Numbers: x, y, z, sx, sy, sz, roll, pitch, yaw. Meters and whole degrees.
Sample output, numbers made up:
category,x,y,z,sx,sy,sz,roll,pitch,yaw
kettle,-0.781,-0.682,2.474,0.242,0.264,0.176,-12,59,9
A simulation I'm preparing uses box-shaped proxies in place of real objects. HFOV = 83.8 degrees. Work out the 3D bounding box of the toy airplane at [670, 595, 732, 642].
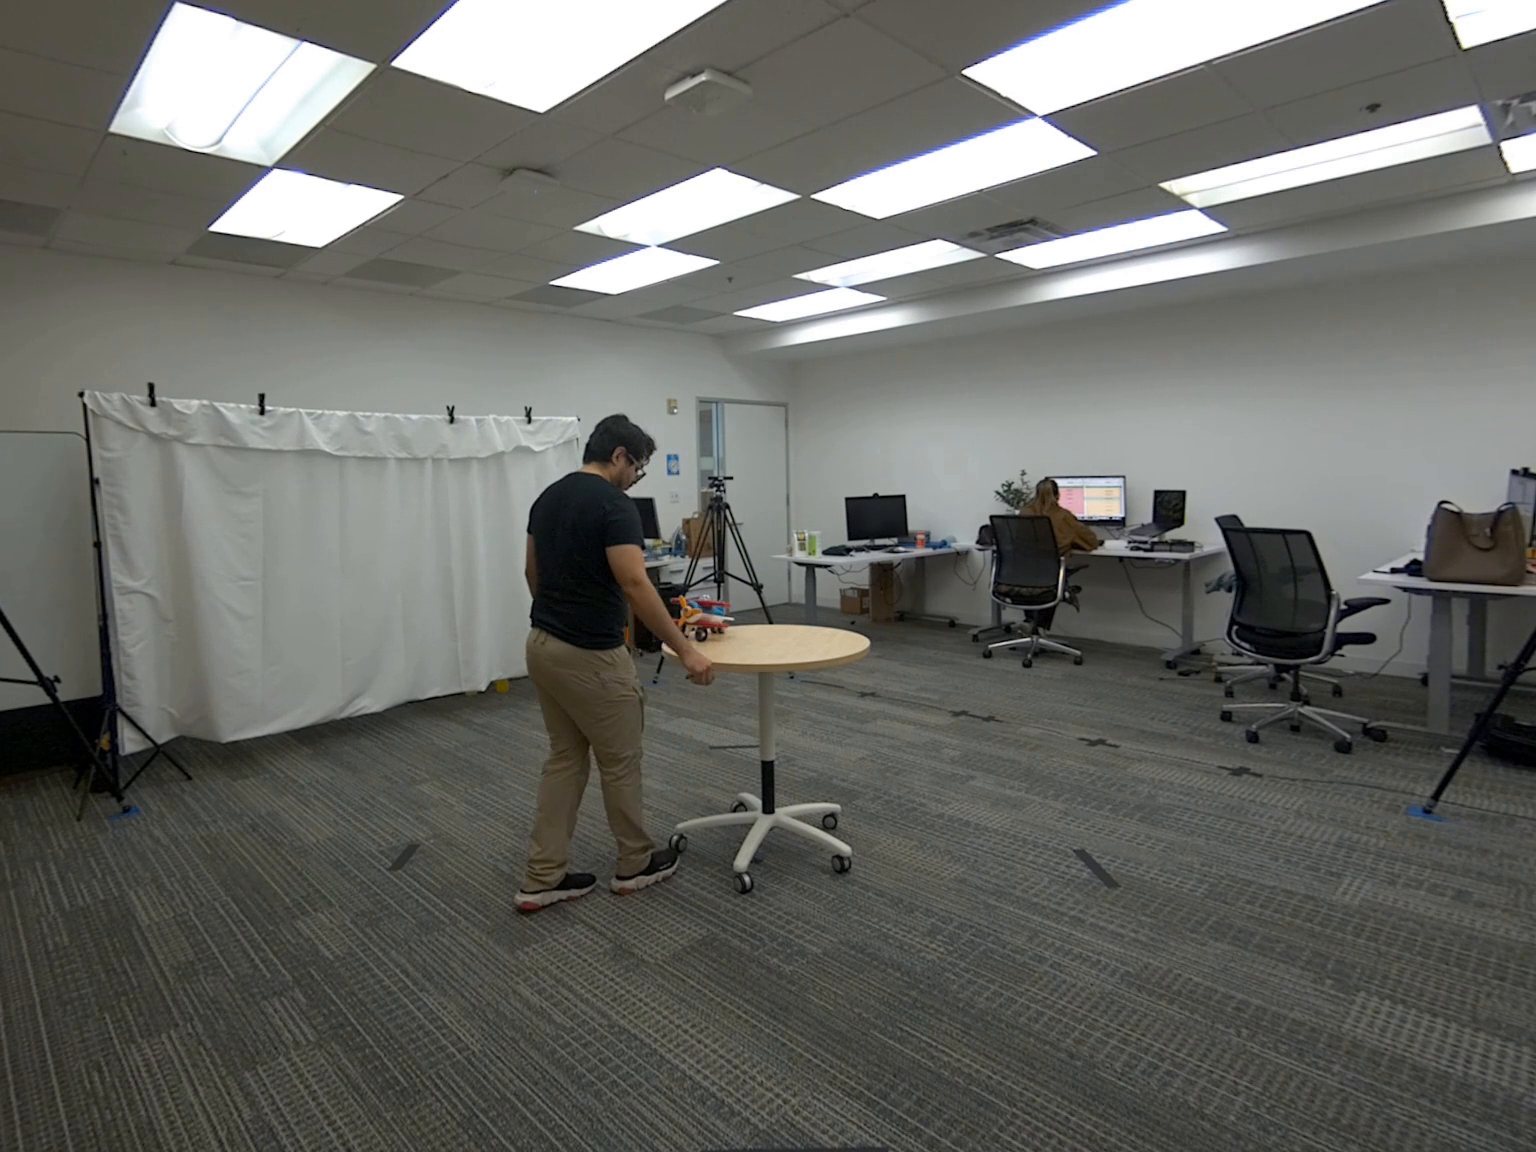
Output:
category,x,y,z,sx,sy,sz,roll,pitch,yaw
toy airplane,-0.262,0.159,3.304,0.252,0.155,0.260,-1,7,3
